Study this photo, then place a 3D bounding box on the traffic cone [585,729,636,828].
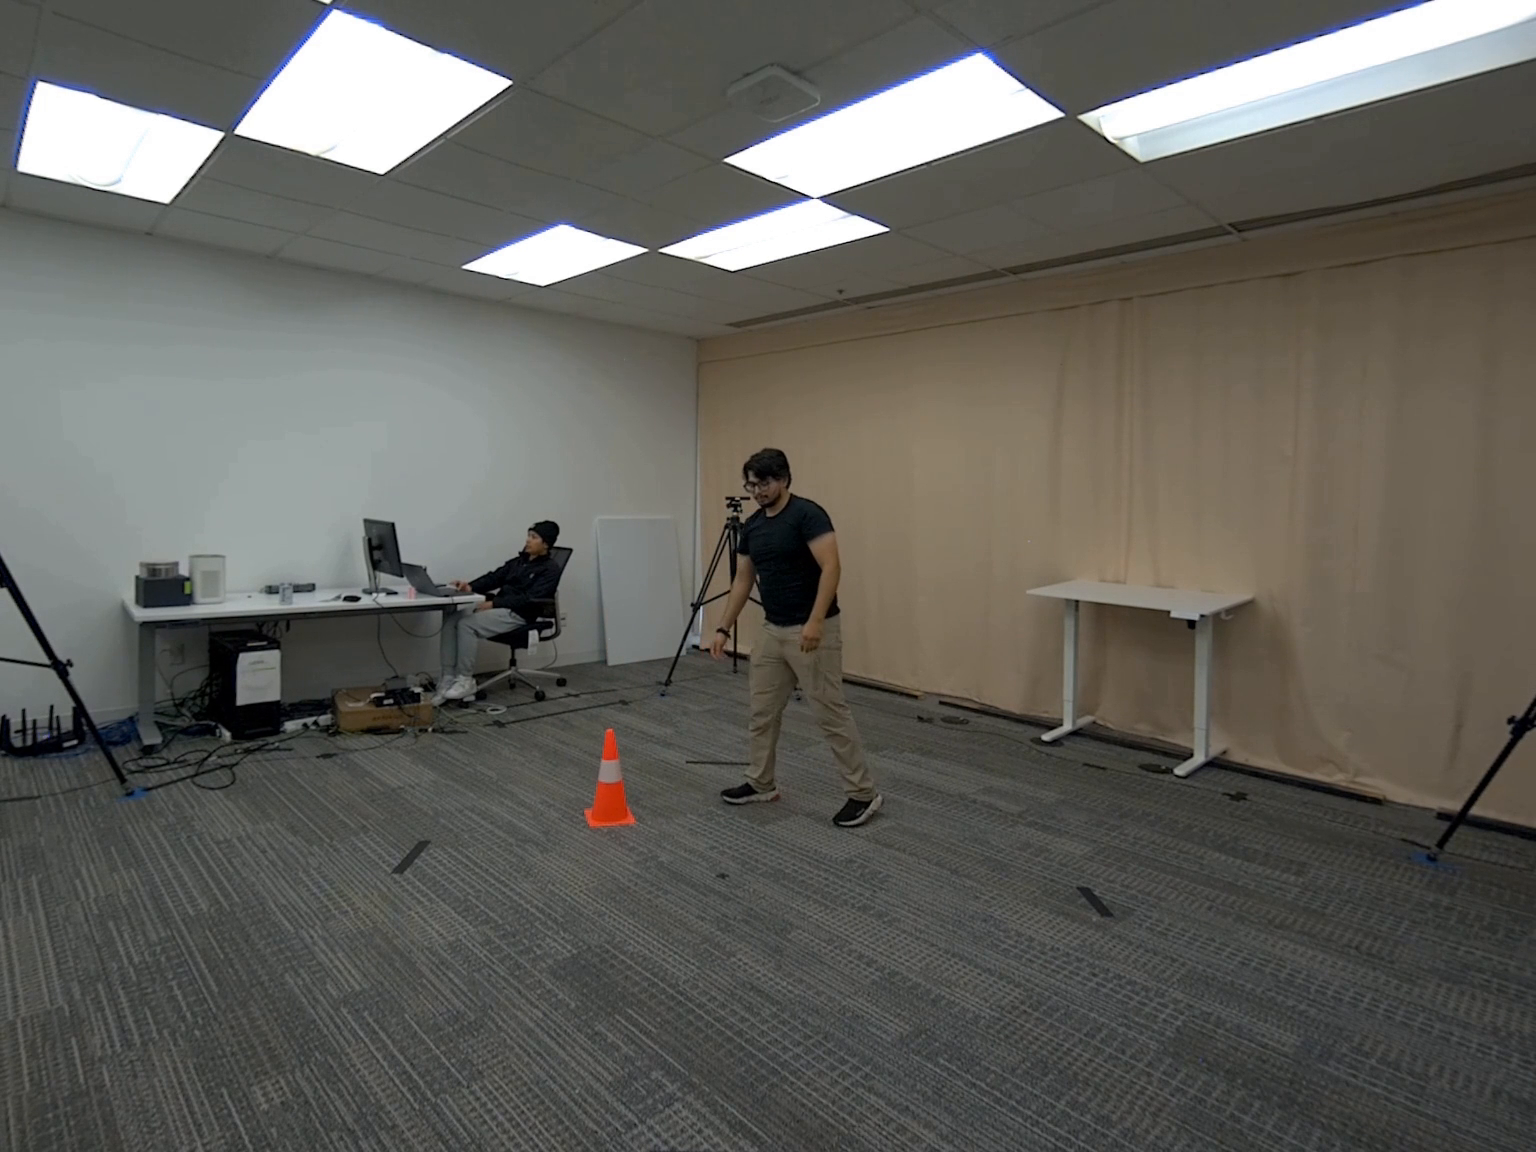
[{"bbox_3d":[-0.693,0.863,3.652,0.202,0.383,0.206,2,3,-18],"label":"traffic cone"}]
